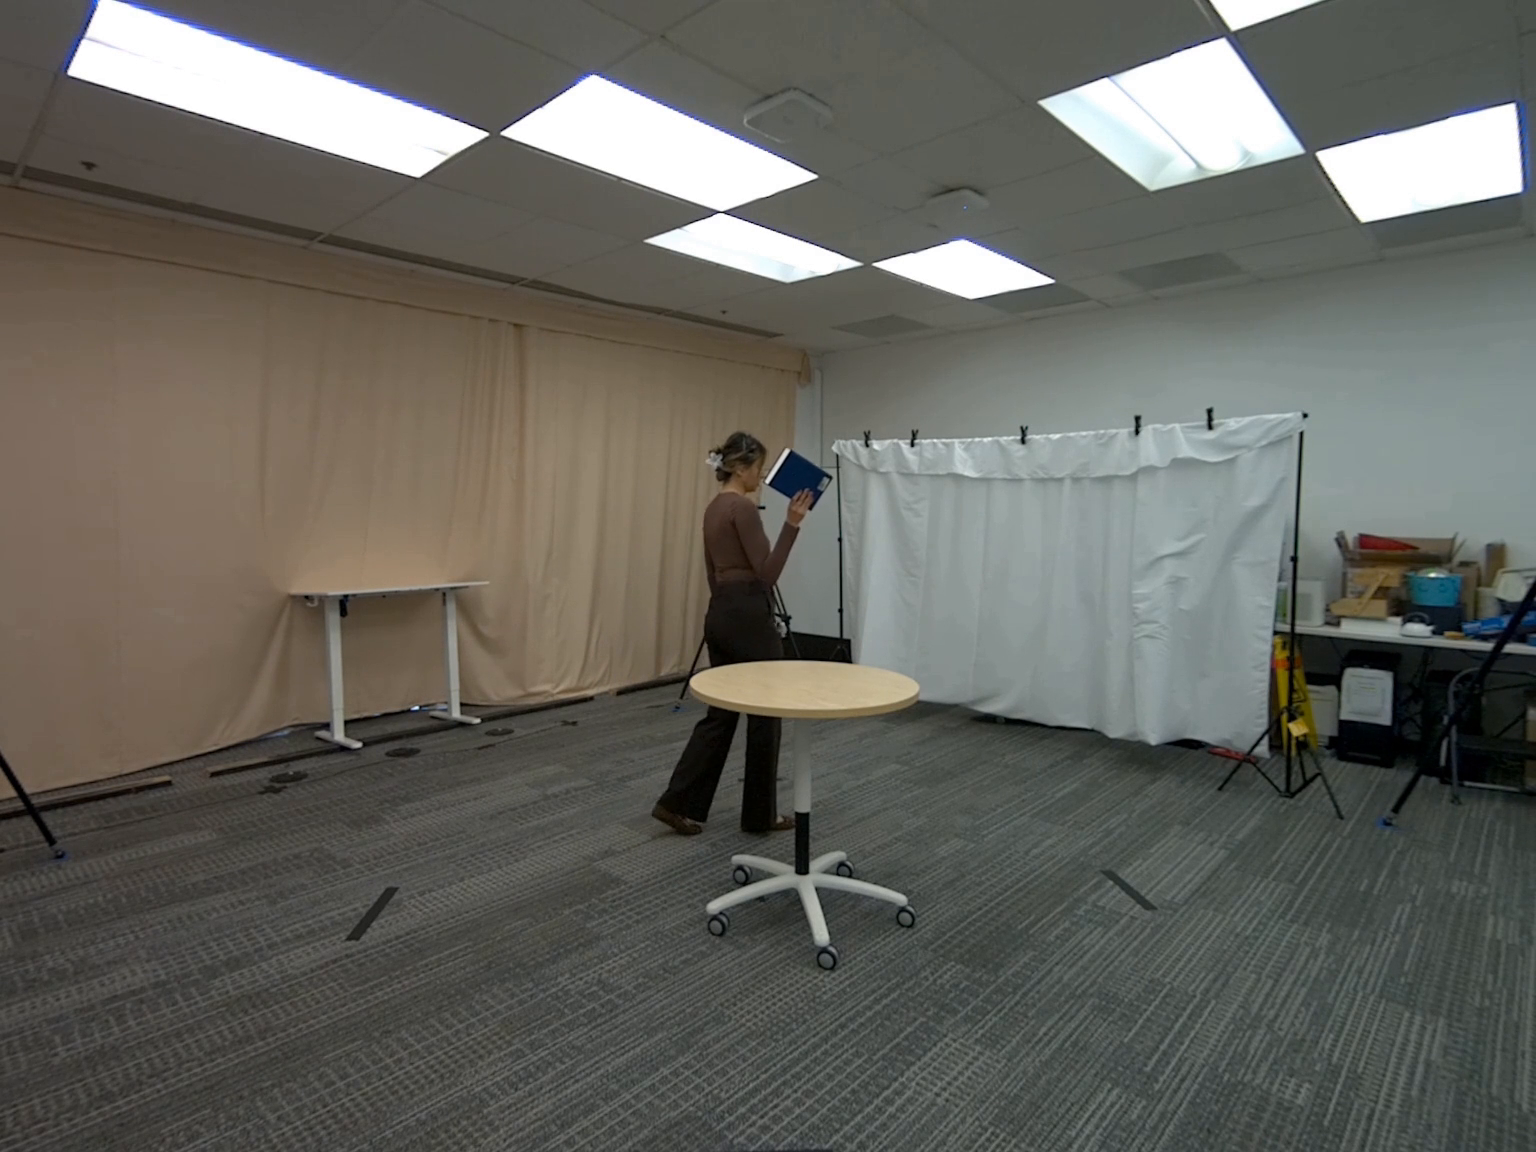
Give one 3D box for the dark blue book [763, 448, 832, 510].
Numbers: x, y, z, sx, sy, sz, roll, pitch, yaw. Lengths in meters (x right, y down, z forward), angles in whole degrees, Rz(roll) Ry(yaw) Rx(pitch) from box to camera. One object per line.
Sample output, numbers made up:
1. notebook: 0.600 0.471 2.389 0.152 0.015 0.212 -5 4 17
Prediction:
1. dark blue book: 0.119 -0.371 3.247 0.237 0.163 0.047 27 10 -36
